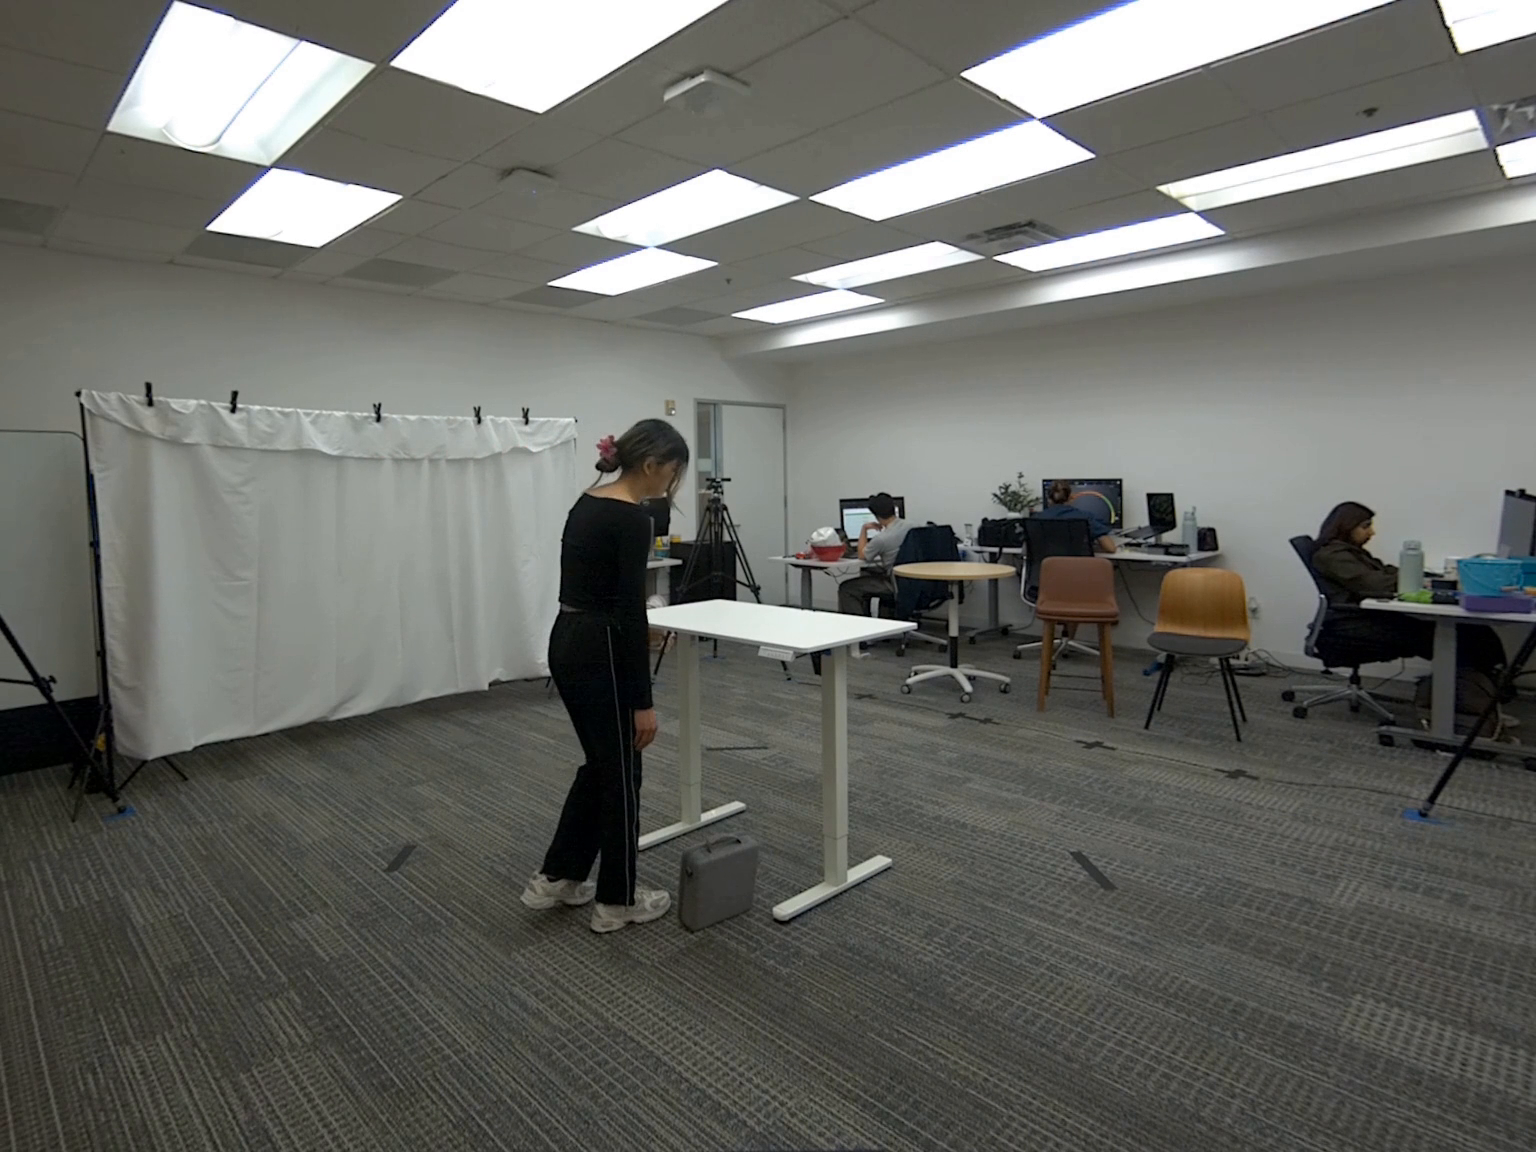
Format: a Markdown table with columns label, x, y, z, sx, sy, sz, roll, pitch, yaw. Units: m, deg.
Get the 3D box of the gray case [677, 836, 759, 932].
| label | x | y | z | sx | sy | sz | roll | pitch | yaw |
| --- | --- | --- | --- | --- | --- | --- | --- | --- | --- |
| gray case | -0.158 | 0.951 | 2.710 | 0.250 | 0.258 | 0.108 | -3 | 15 | -33 |
